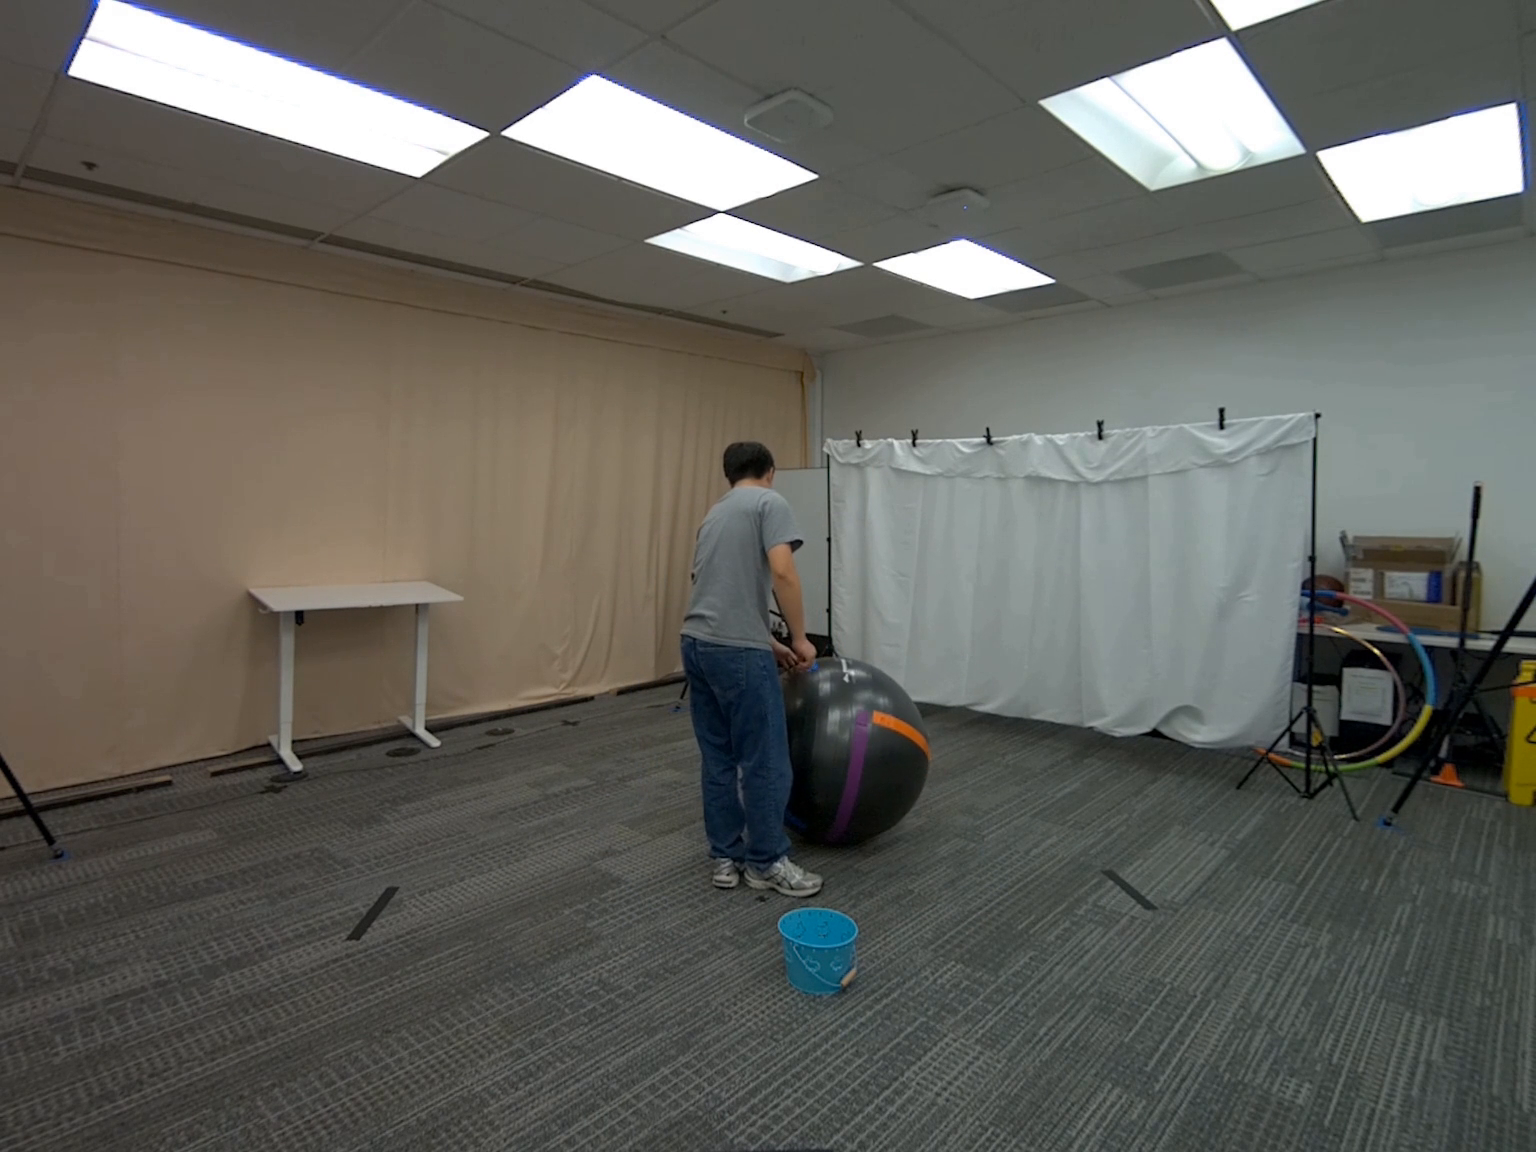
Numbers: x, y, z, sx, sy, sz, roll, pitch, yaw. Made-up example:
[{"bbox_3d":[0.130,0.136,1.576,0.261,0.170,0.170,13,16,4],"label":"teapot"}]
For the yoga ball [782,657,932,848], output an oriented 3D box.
[{"bbox_3d":[0.290,0.726,3.535,0.757,0.756,0.760,0,4,-2],"label":"yoga ball"}]
